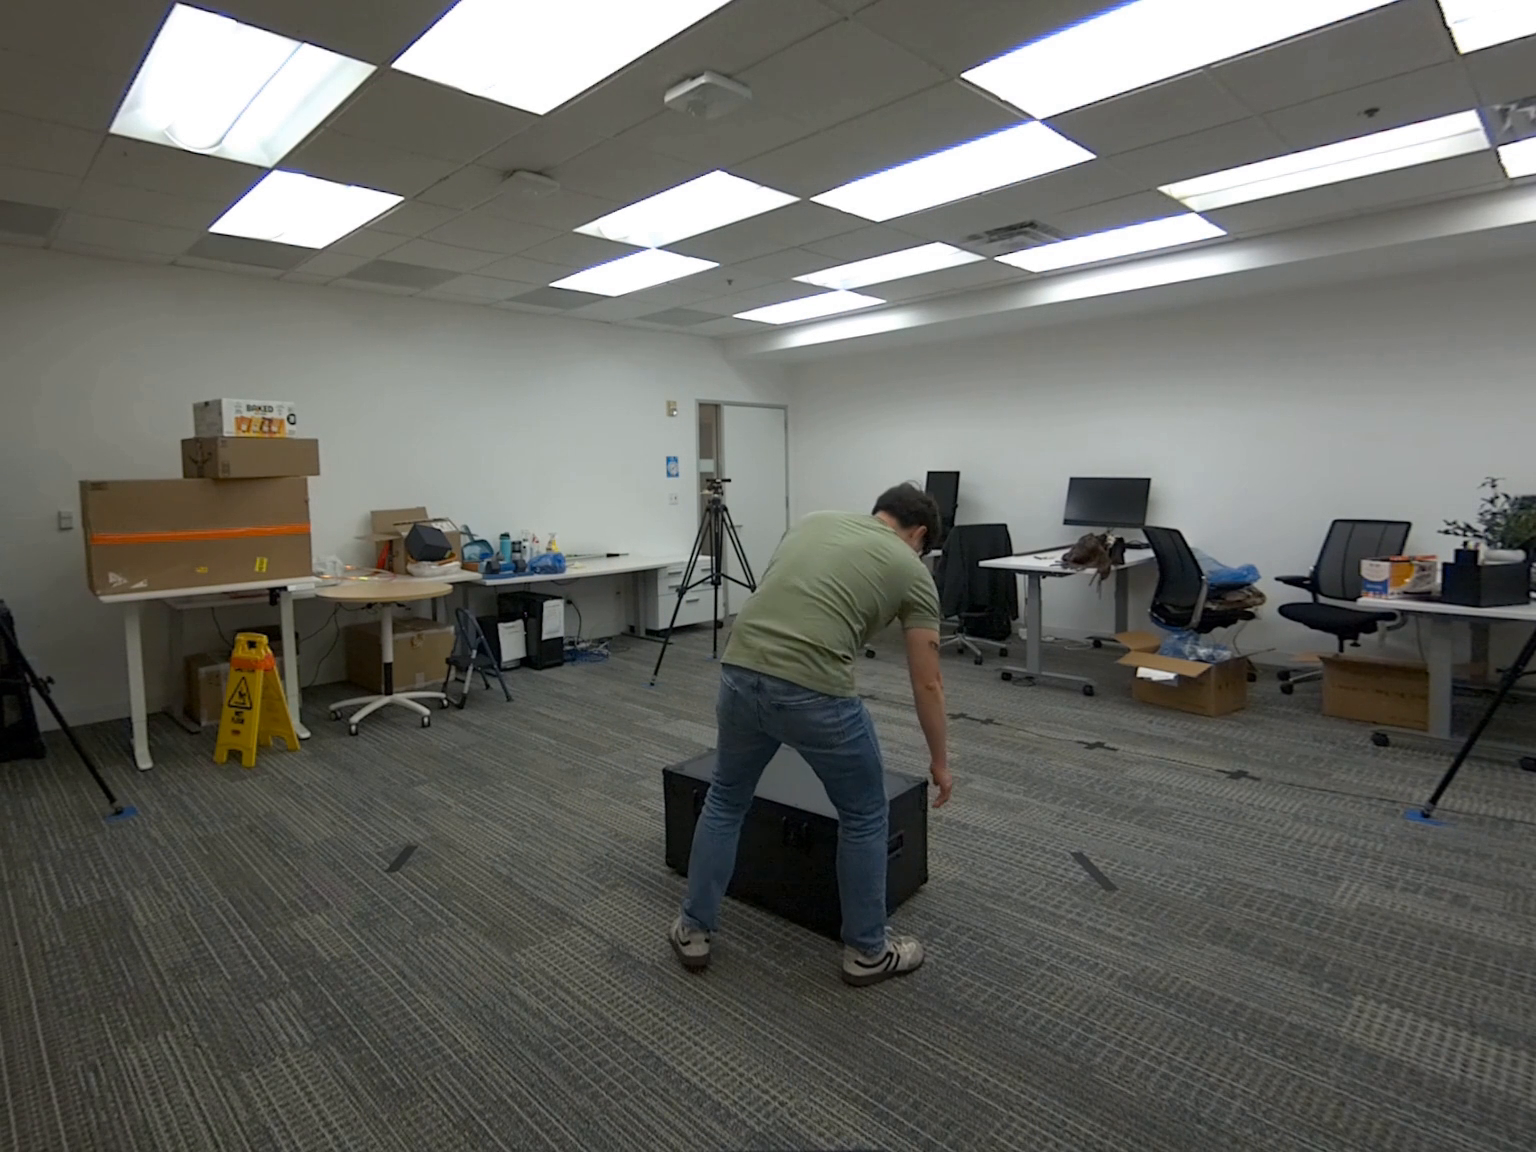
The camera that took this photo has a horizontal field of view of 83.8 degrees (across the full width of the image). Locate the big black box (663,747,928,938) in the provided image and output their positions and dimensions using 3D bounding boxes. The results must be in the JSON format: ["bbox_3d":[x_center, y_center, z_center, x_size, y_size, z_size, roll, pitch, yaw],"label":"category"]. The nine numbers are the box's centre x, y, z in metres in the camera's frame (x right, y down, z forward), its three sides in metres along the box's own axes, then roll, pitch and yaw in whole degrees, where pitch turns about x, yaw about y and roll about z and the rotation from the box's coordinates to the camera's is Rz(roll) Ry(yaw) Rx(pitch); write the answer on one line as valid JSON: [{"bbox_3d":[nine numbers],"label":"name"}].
[{"bbox_3d":[0.063,0.866,2.983,0.888,0.394,0.508,5,8,39],"label":"big black box"}]
